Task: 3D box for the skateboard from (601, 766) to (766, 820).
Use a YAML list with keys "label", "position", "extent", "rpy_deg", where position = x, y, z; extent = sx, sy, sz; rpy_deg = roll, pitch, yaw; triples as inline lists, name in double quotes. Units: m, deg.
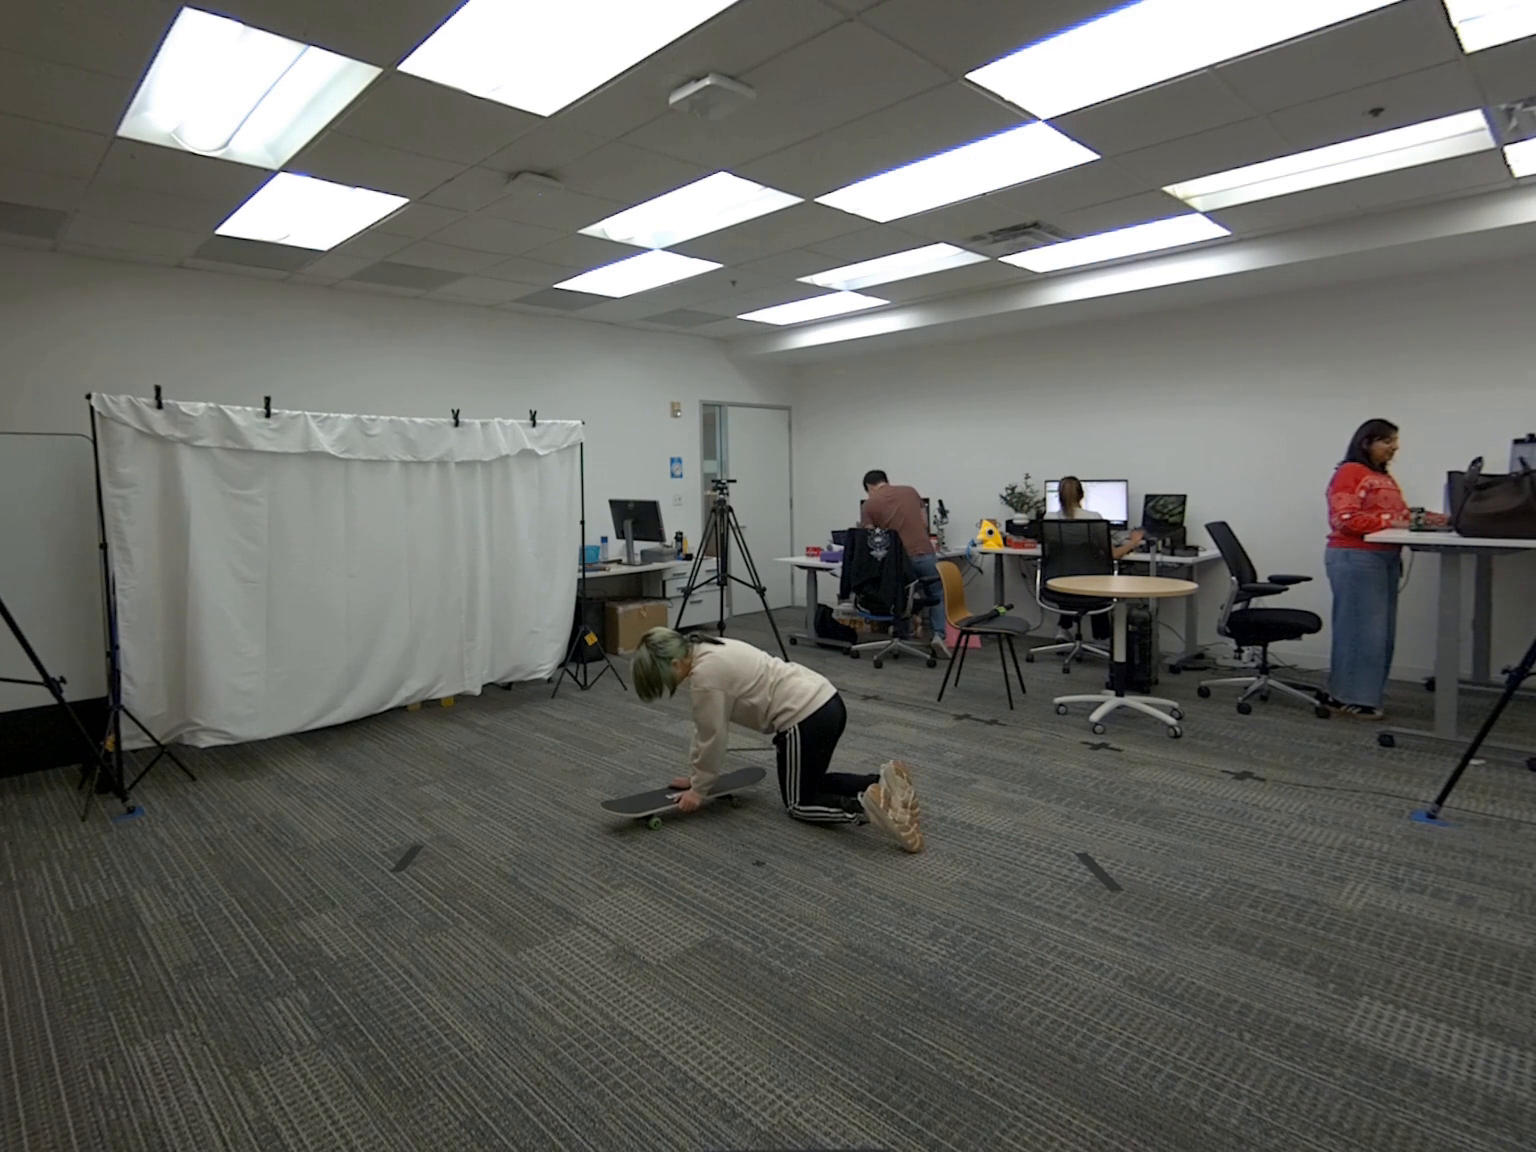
- label: "skateboard"
  position: [-0.336, 0.937, 3.603]
  extent: [0.766, 0.110, 0.199]
  rpy_deg: [-5, 7, -33]
